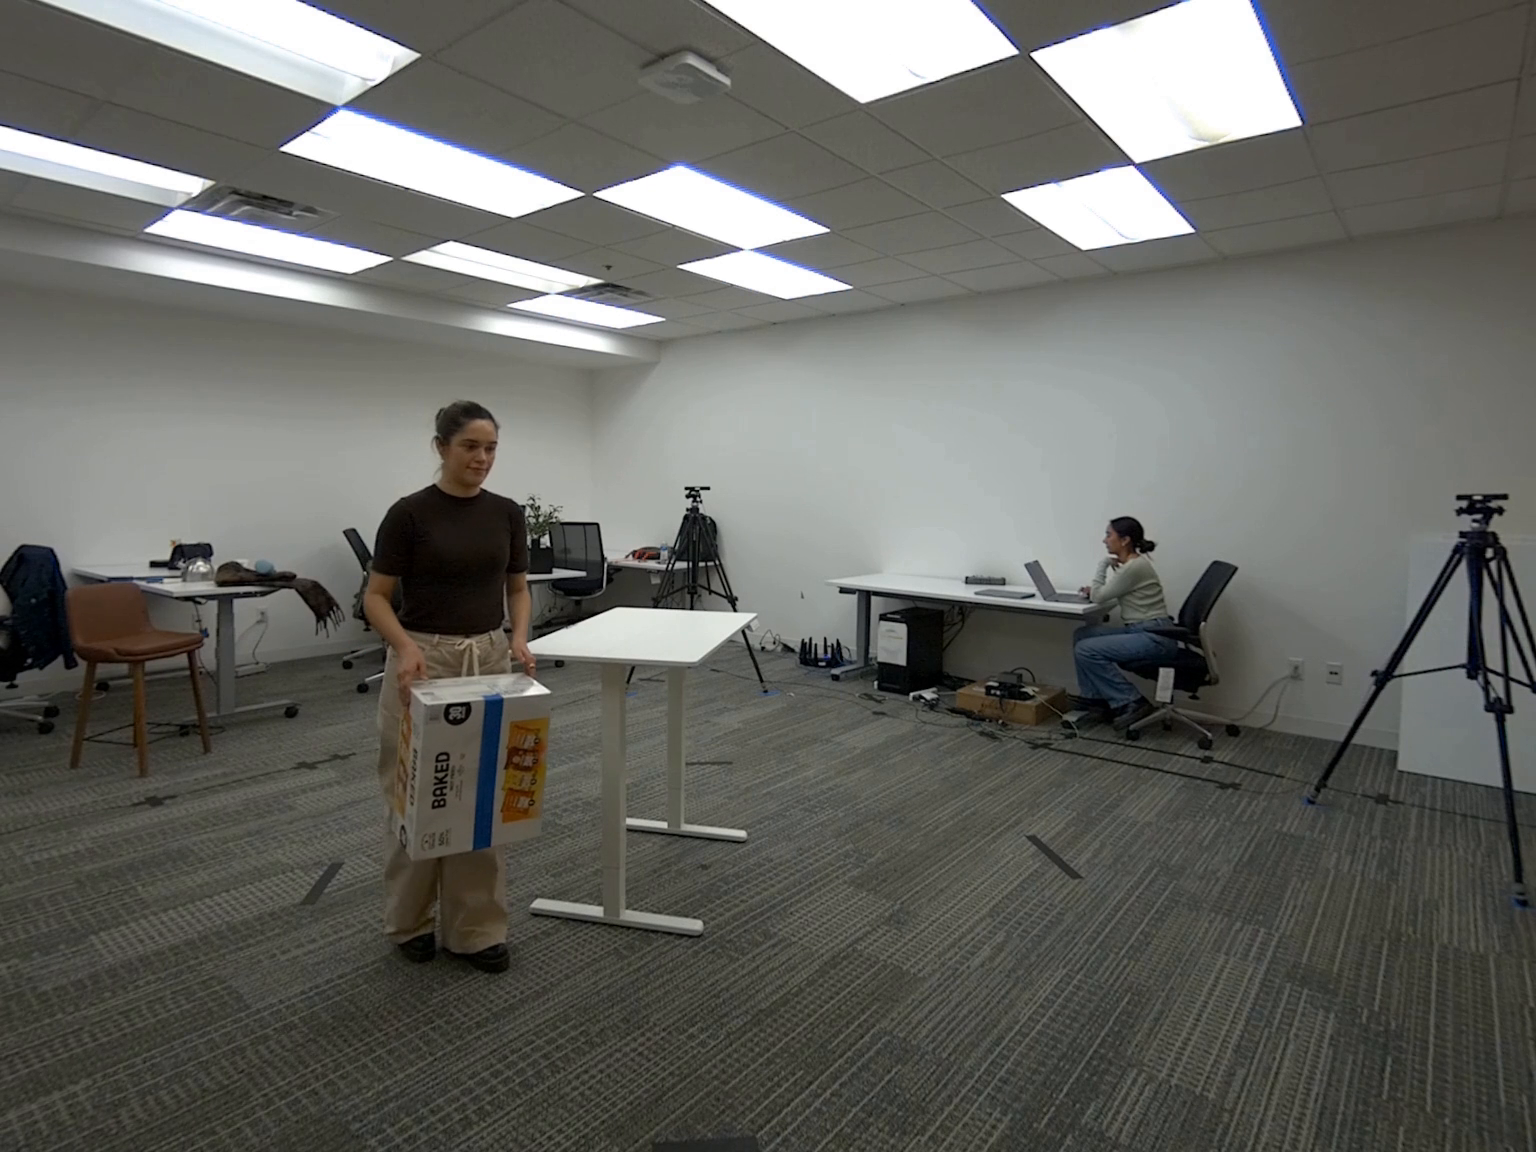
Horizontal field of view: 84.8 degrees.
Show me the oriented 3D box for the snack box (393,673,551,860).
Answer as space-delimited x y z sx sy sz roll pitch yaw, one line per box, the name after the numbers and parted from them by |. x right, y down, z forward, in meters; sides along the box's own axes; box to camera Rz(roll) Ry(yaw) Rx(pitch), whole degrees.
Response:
-0.796 0.489 2.246 0.330 0.403 0.213 1 8 -37 | snack box
